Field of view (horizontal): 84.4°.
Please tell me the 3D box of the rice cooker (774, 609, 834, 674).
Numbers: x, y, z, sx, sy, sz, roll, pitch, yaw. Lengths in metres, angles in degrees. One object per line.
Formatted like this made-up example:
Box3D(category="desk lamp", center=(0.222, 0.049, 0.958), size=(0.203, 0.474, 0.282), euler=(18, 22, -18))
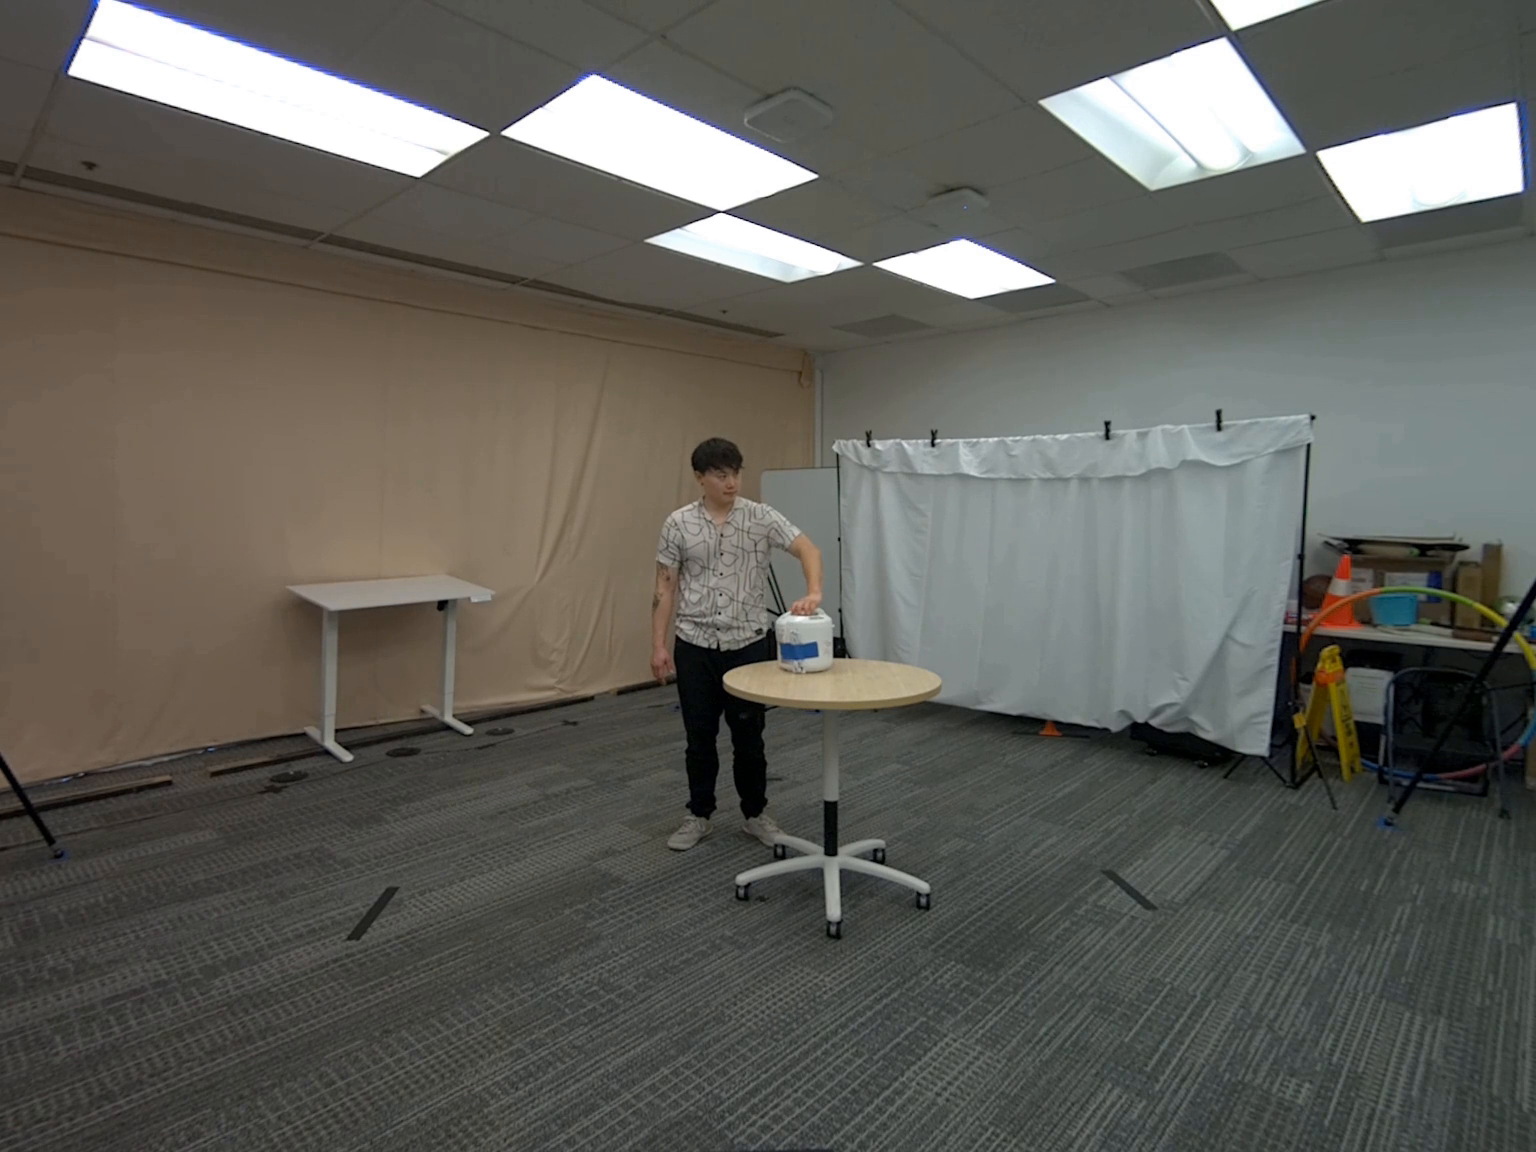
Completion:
Box3D(category="rice cooker", center=(0.139, 0.233, 3.148), size=(0.215, 0.232, 0.223), euler=(-1, 4, -24))
